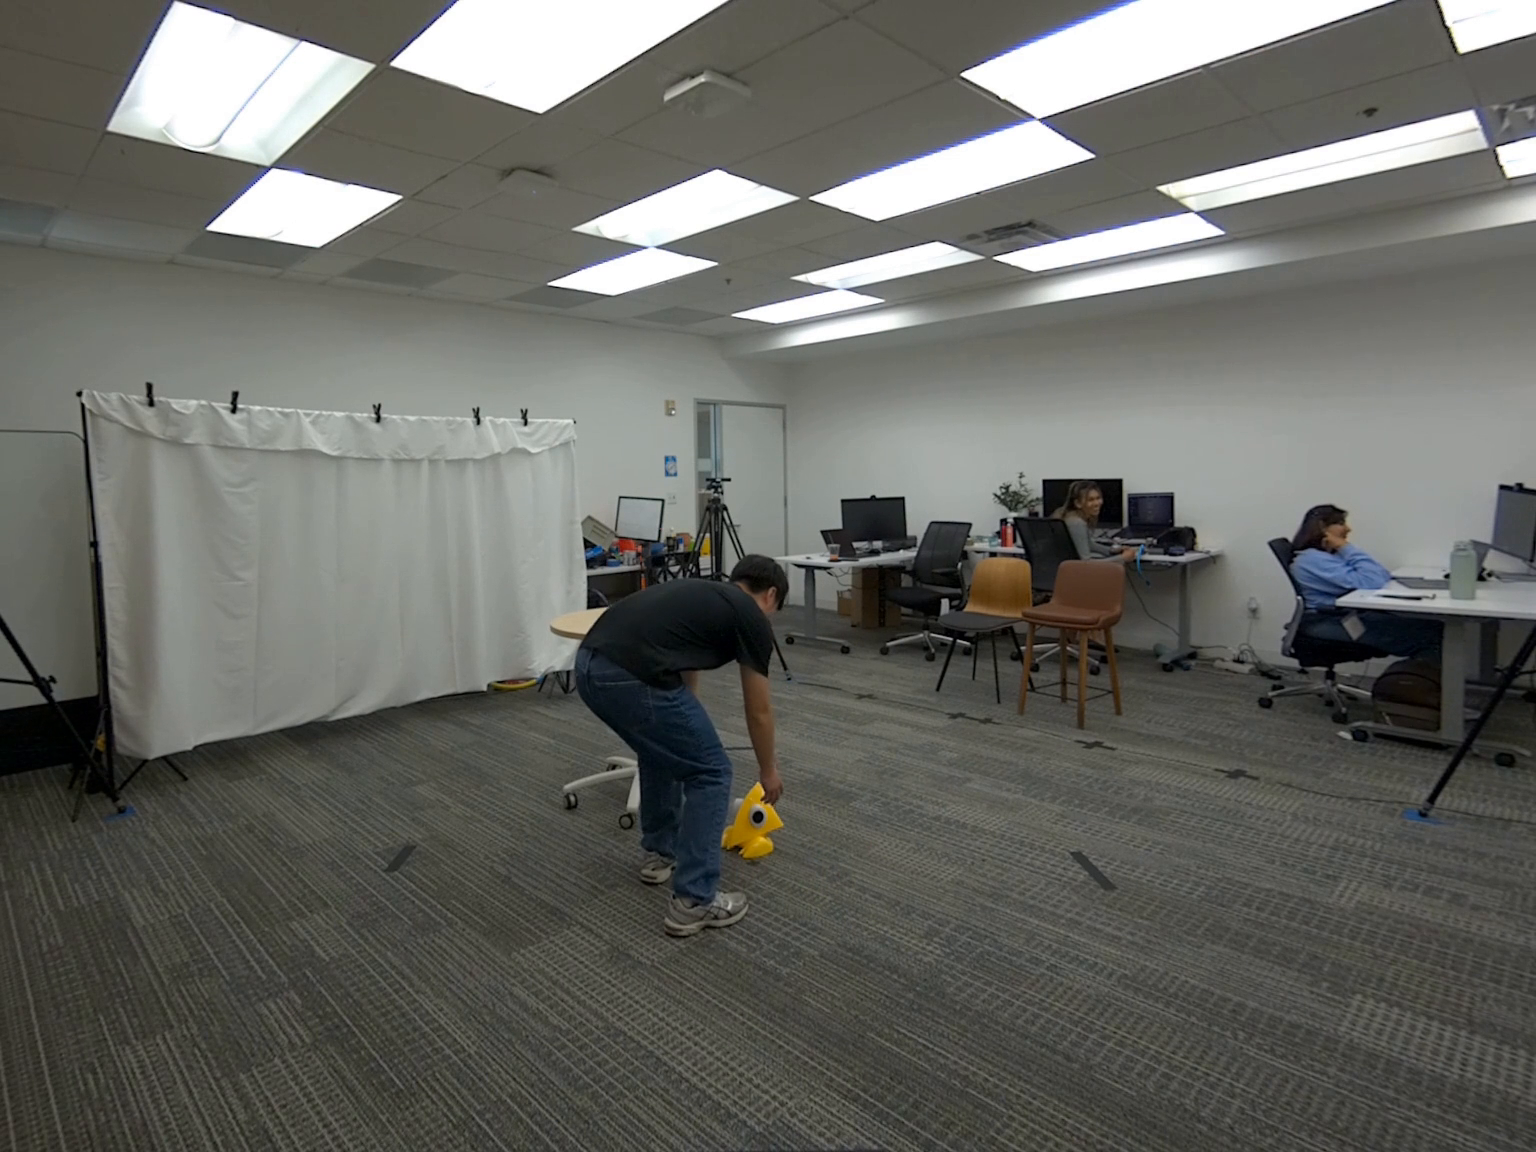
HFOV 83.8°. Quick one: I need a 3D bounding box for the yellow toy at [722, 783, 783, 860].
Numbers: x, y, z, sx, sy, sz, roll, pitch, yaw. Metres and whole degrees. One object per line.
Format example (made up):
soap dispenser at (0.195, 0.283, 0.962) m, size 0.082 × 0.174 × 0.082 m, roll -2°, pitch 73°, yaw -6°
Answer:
yellow toy at (-0.074, 0.911, 3.245) m, size 0.211 × 0.230 × 0.188 m, roll 4°, pitch 6°, yaw 44°
